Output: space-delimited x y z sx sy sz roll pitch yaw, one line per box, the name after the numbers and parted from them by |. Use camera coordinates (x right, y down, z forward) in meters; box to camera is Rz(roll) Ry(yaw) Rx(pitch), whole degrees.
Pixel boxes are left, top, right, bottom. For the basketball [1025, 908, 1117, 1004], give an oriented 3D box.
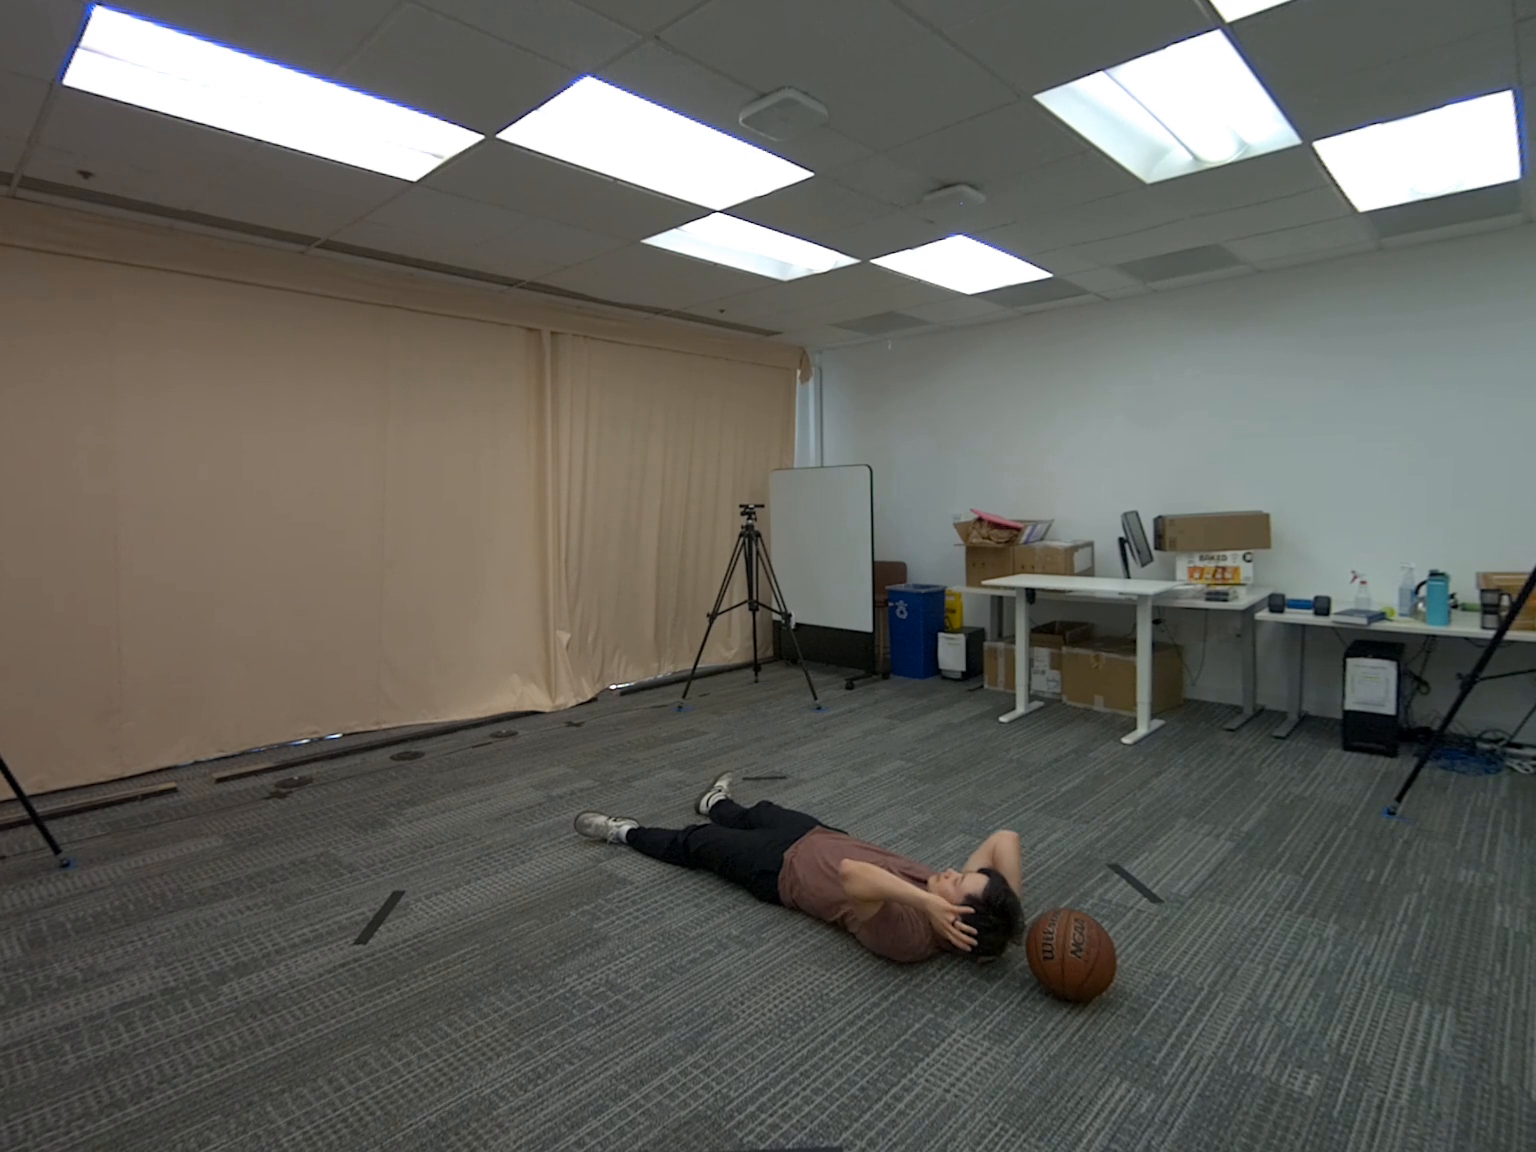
0.855 1.050 2.364 0.236 0.235 0.236 -1 3 -2 | basketball
